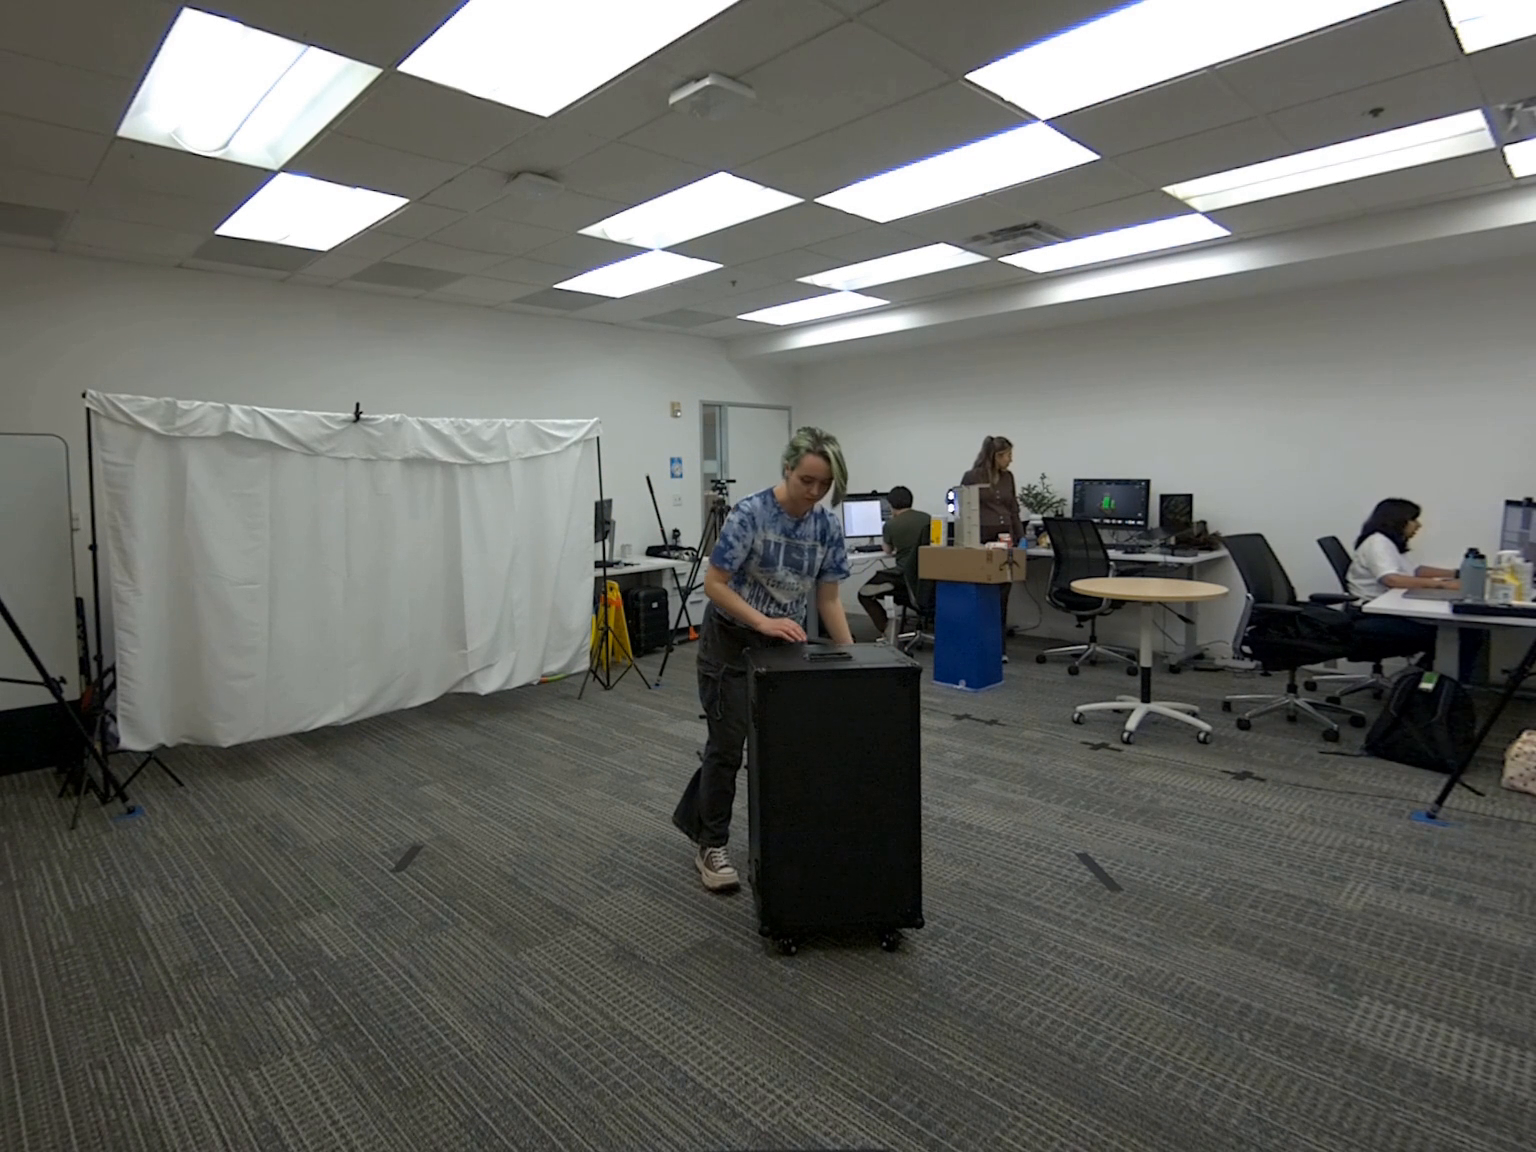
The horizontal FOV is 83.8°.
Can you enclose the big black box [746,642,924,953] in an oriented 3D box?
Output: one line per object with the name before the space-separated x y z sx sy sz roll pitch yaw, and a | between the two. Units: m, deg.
big black box | 0.194 0.675 2.651 0.520 0.859 0.399 -2 3 -4
